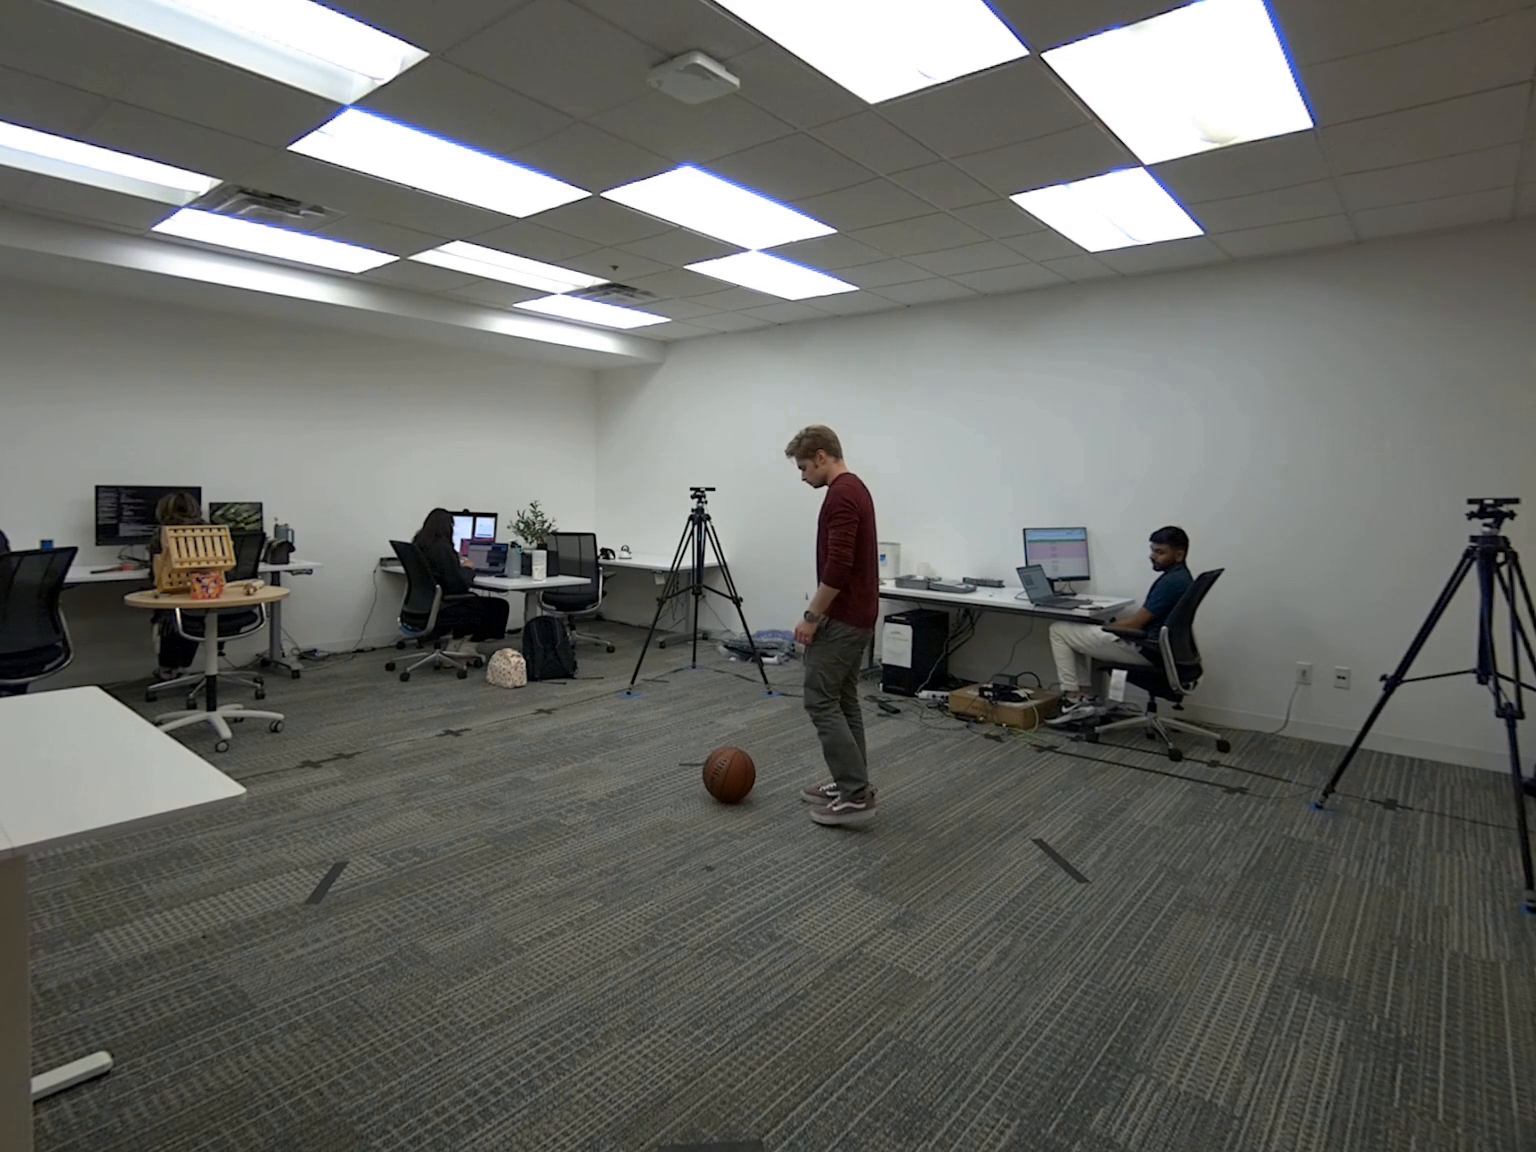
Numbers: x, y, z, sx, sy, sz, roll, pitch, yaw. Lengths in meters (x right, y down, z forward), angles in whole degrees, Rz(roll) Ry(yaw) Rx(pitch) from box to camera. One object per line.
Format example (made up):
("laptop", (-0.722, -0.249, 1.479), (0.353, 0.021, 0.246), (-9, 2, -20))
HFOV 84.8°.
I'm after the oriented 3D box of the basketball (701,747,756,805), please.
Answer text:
("basketball", (-0.184, 0.877, 3.797), (0.235, 0.235, 0.237), (1, 4, -2))
